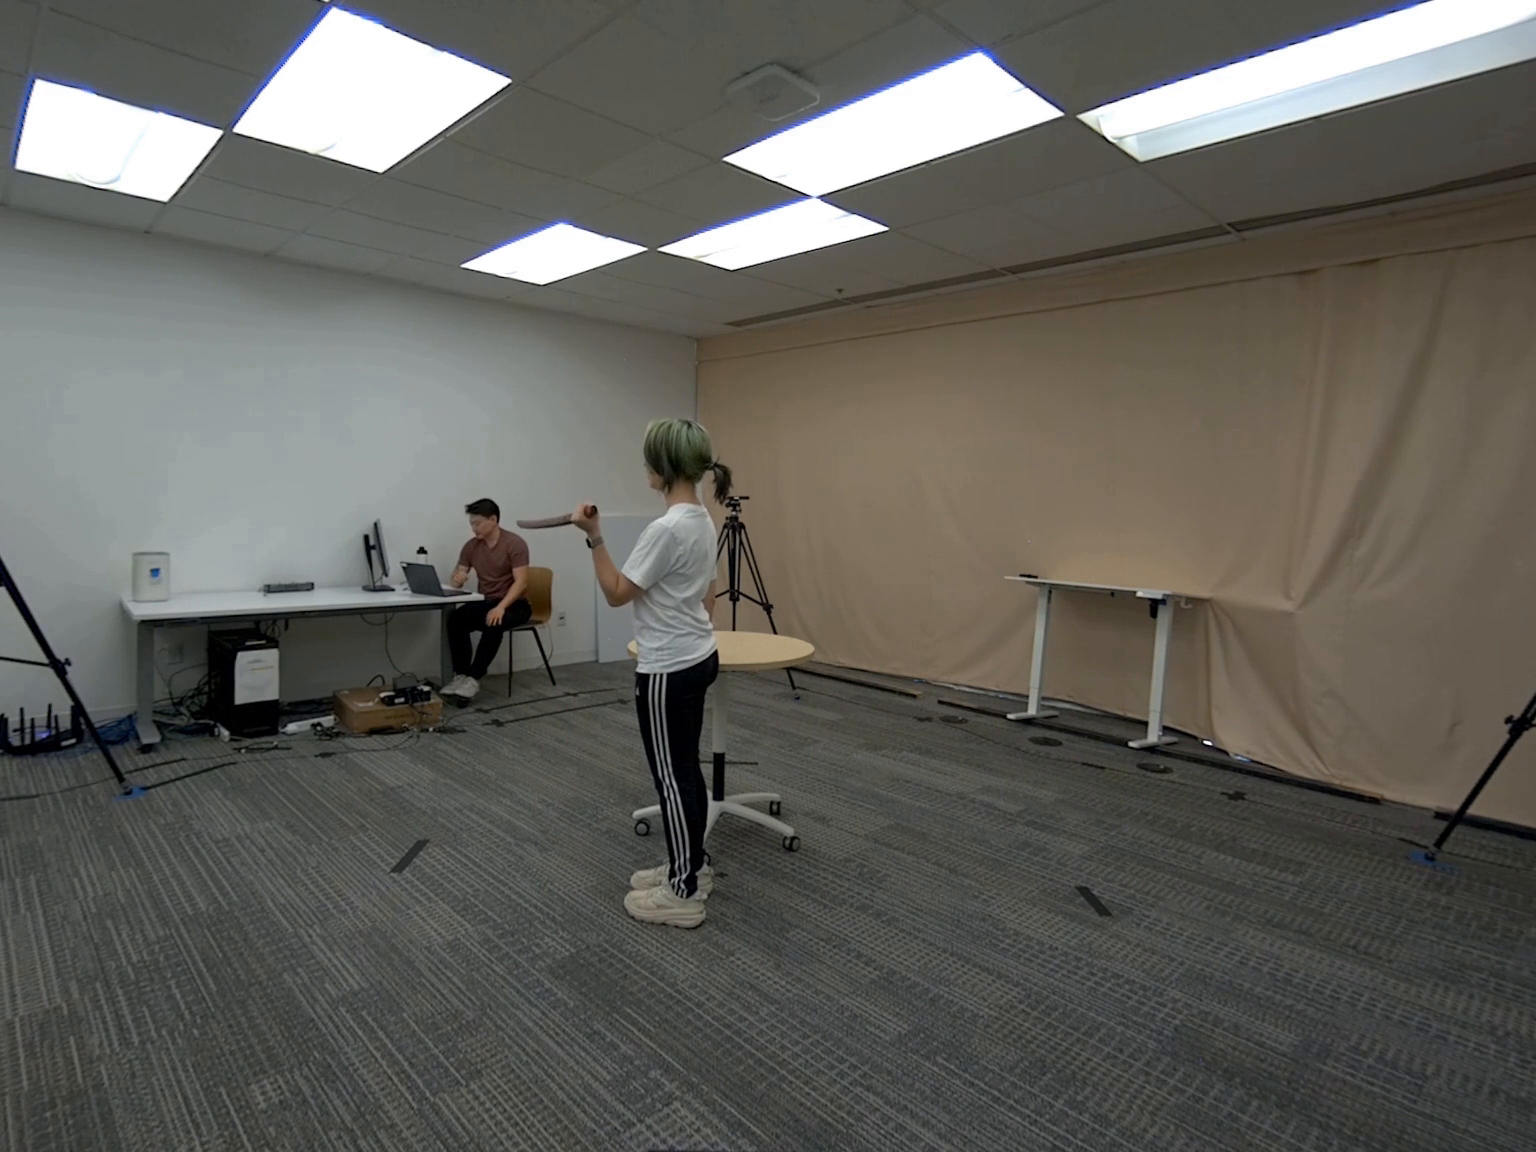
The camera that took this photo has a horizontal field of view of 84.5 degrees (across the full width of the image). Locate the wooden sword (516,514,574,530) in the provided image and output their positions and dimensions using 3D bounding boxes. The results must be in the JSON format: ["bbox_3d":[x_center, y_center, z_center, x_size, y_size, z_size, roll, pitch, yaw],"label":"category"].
[{"bbox_3d":[-0.814,-0.176,3.004,0.051,0.024,1.044,-43,19,-21],"label":"wooden sword"}]
